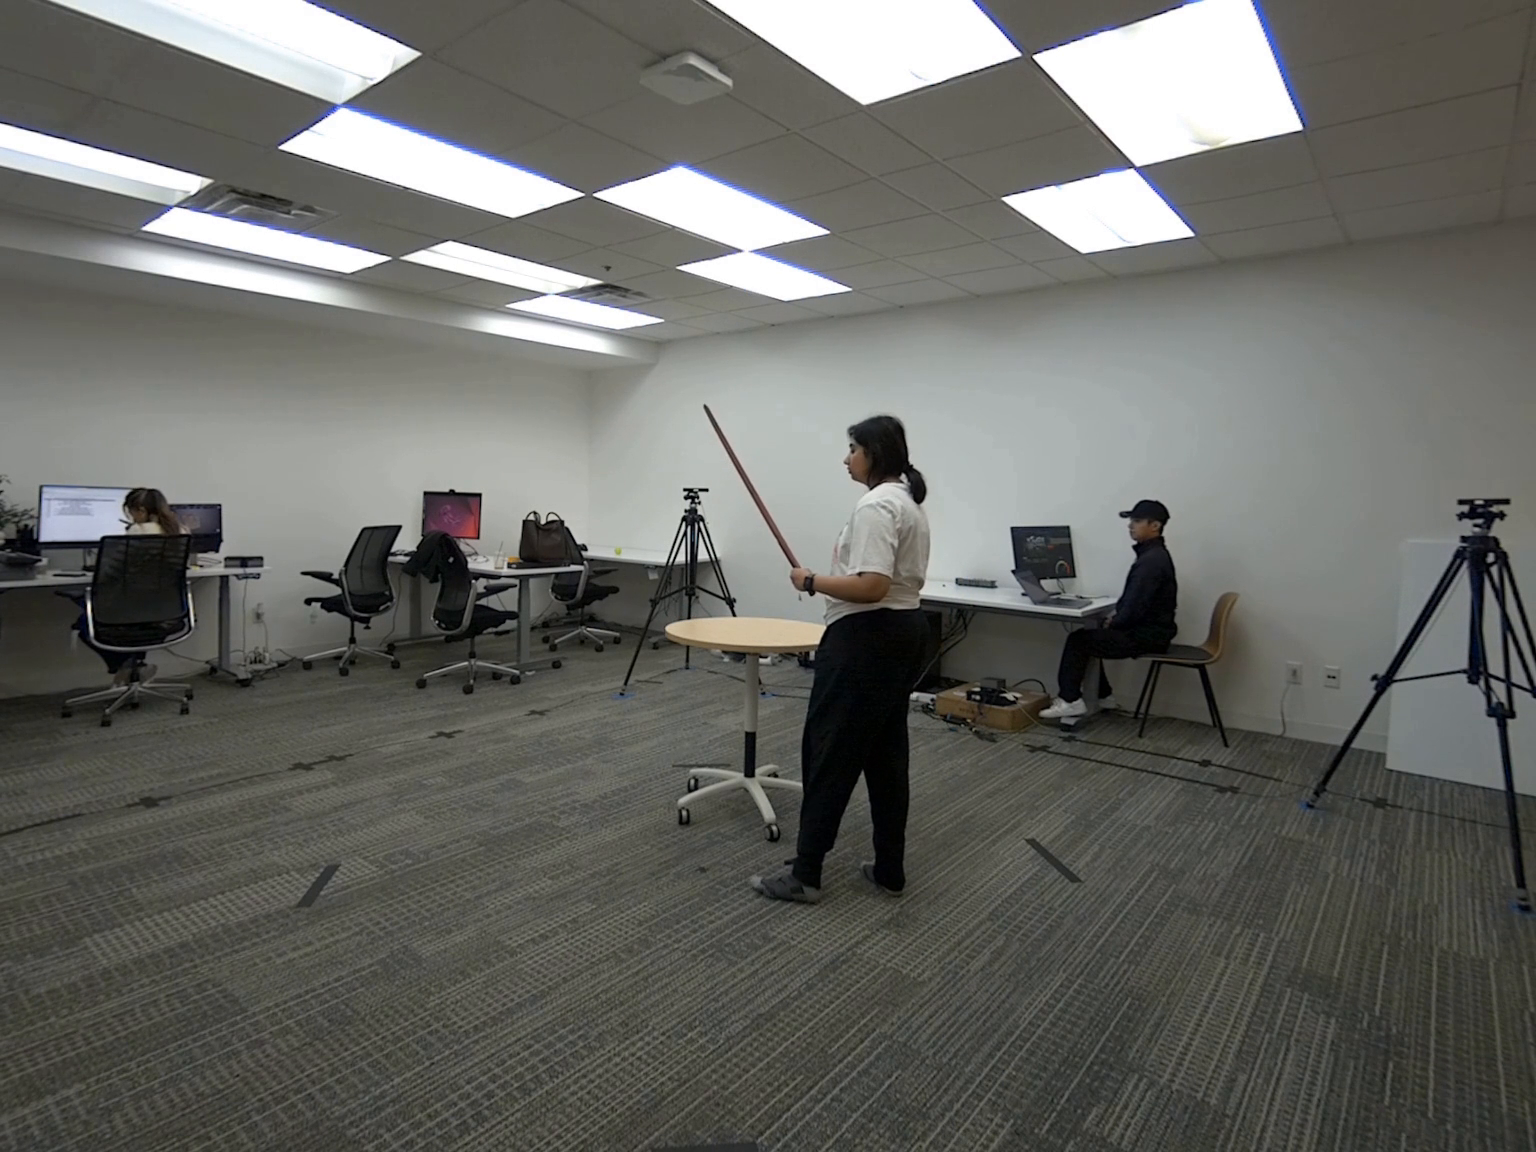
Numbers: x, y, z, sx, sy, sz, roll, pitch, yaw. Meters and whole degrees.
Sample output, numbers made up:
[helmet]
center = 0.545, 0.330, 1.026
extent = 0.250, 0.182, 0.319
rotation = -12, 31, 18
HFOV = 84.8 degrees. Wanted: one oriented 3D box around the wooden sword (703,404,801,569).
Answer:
[wooden sword]
center = -0.066, -0.315, 3.245
extent = 0.049, 1.064, 0.024
rotation = 7, -47, -41
